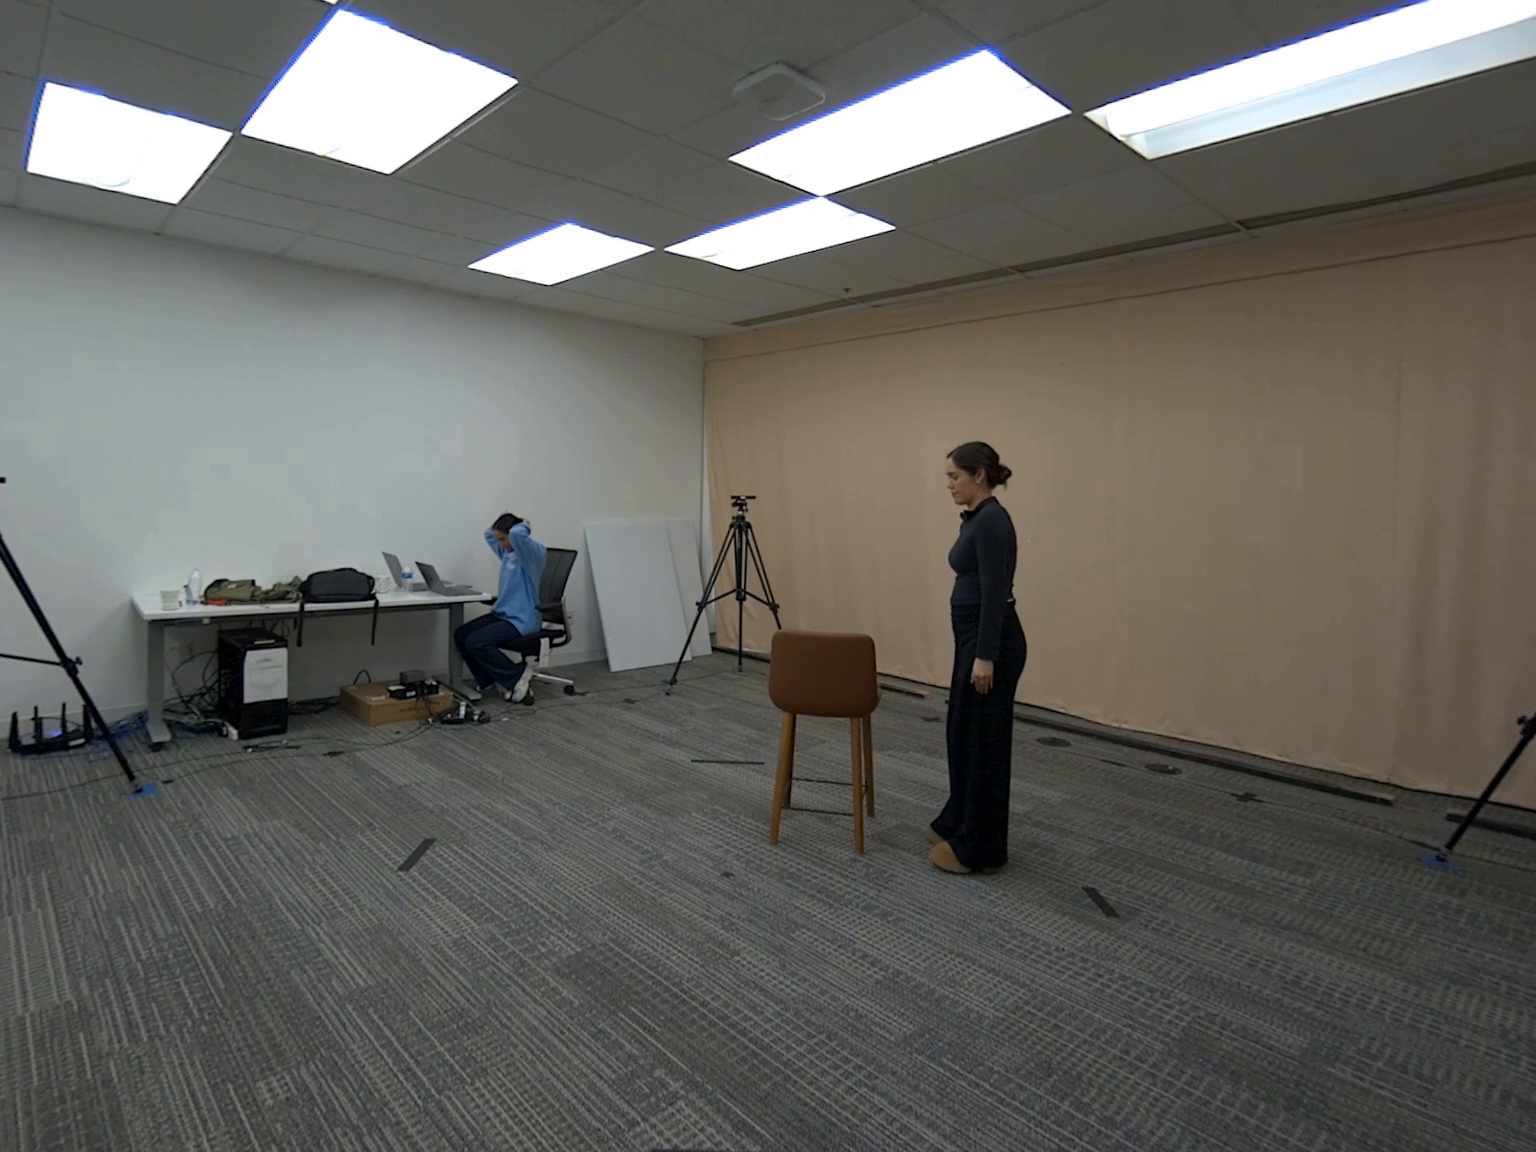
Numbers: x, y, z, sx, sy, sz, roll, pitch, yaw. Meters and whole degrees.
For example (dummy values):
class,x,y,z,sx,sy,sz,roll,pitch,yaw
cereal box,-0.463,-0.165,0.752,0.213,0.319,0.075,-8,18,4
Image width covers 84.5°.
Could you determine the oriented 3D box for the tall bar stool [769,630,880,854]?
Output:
class,x,y,z,sx,sy,sz,roll,pitch,yaw
tall bar stool,0.236,0.638,3.543,0.462,0.887,0.463,2,4,13
